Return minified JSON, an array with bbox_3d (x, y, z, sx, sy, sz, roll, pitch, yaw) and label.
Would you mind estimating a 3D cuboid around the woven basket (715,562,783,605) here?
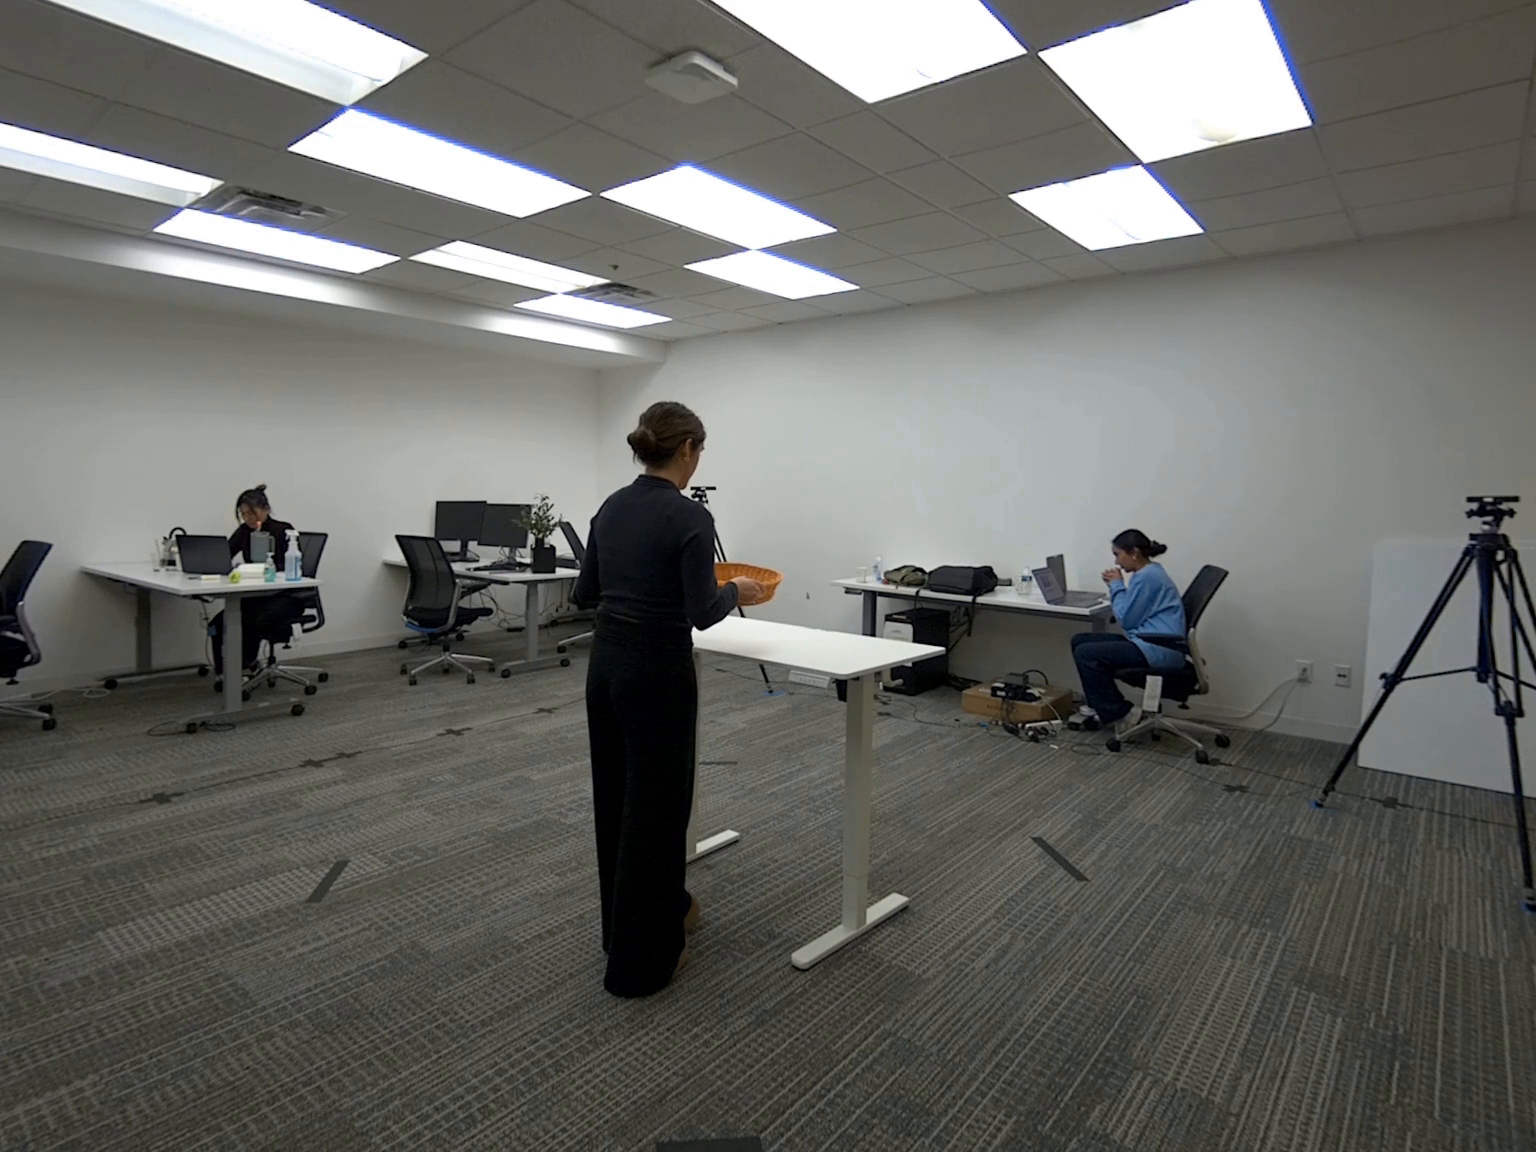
[{"bbox_3d":[-0.138,0.029,2.649,0.246,0.072,0.363,-12,17,-36],"label":"woven basket"}]
